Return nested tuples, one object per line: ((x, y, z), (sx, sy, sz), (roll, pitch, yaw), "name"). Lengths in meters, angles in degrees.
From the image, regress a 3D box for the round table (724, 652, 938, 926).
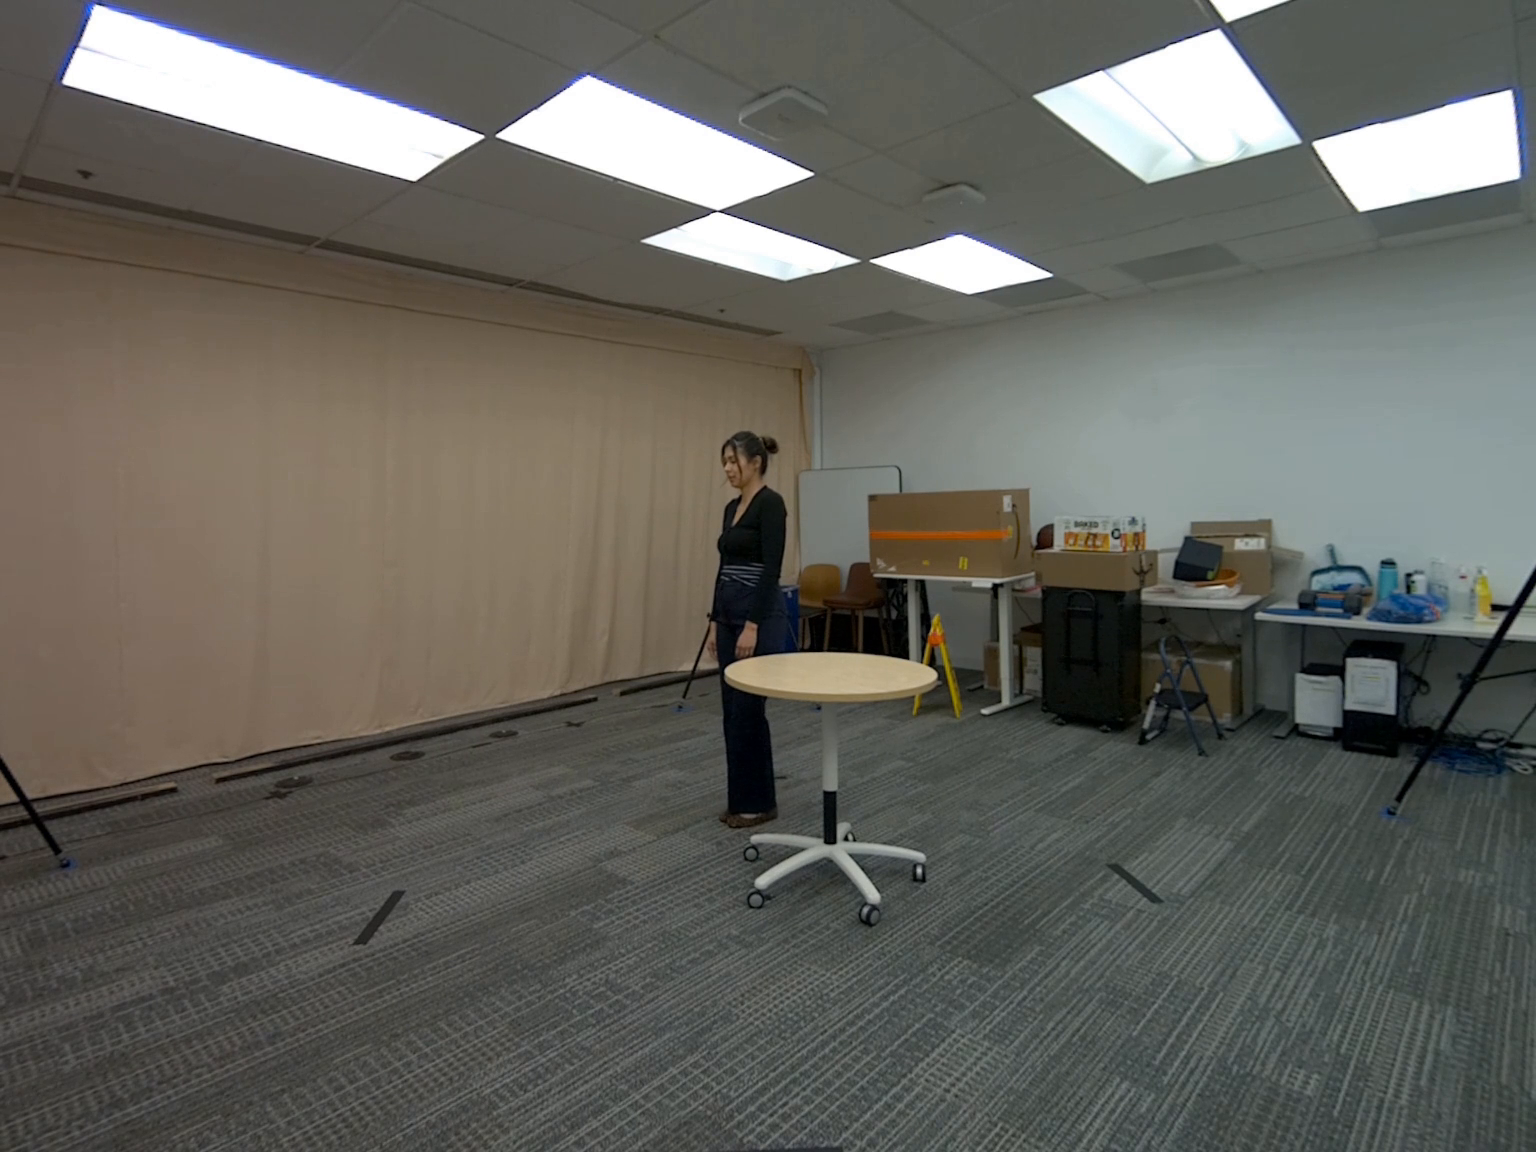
((0.235, 0.739, 3.089), (0.763, 0.792, 0.766), (-1, 4, -2), "round table")
